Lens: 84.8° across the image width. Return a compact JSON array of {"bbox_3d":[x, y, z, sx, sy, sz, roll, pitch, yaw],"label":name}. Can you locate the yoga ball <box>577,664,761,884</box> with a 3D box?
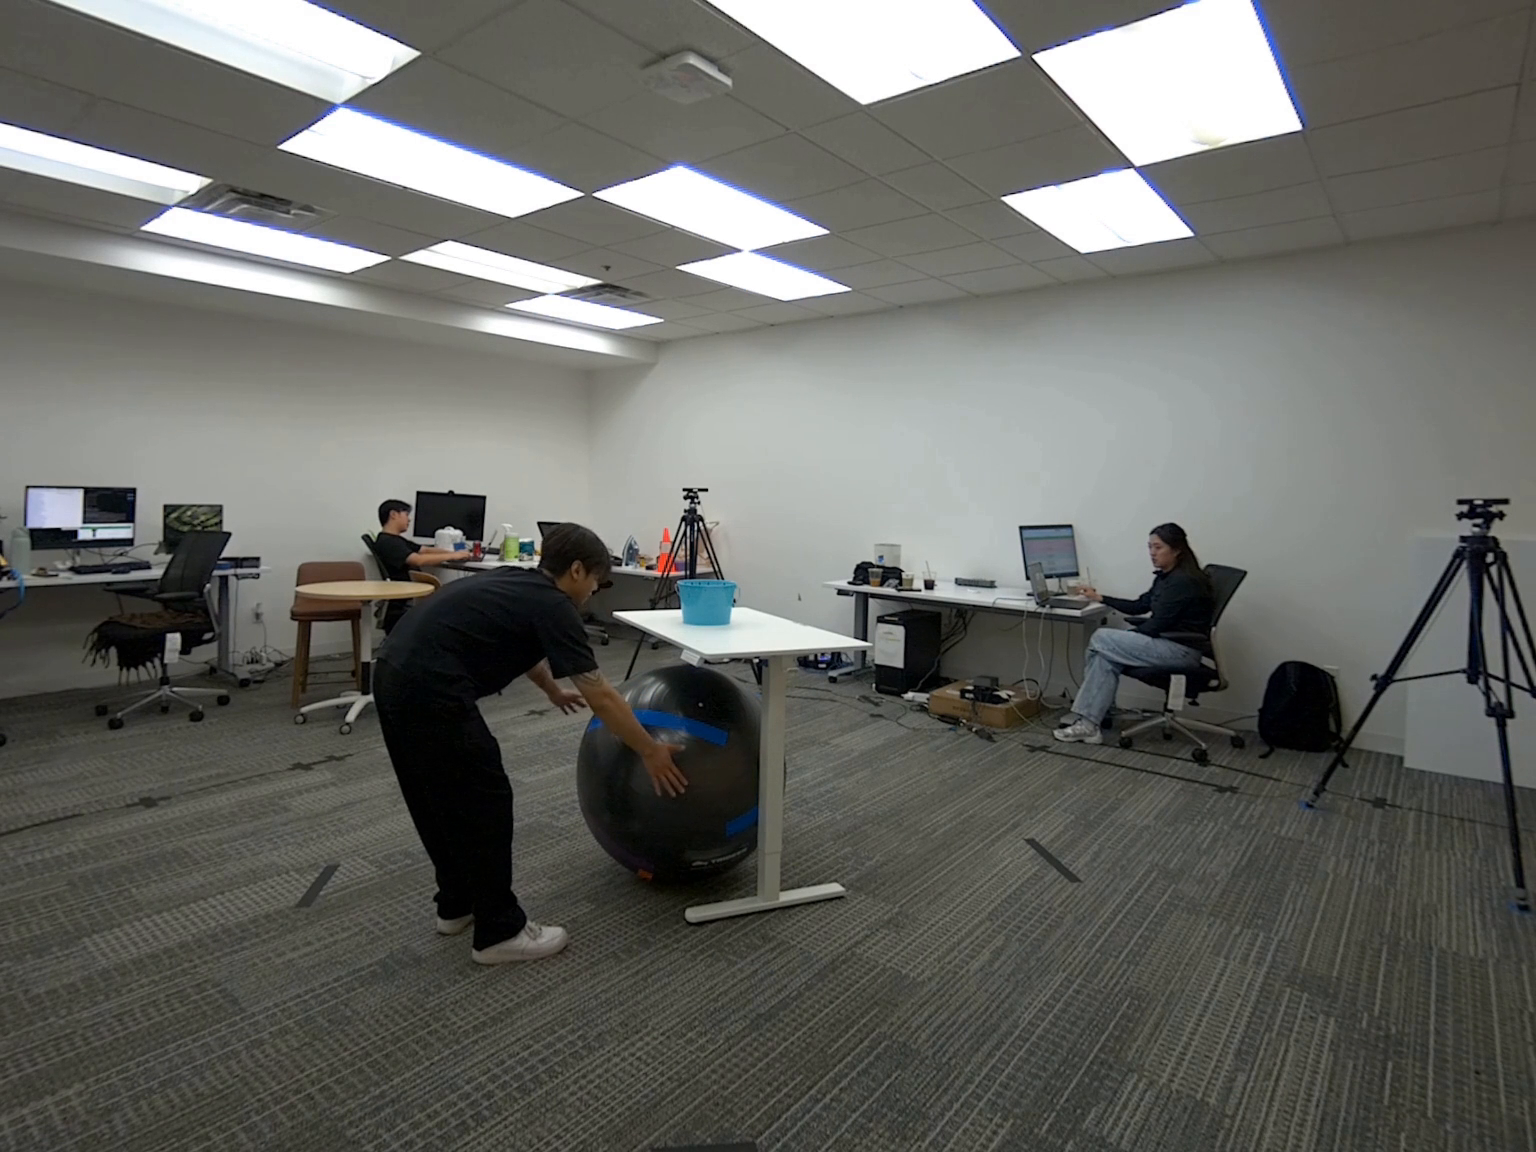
[{"bbox_3d":[-0.322,0.709,3.091,0.757,0.756,0.762,1,4,-2],"label":"yoga ball"}]
